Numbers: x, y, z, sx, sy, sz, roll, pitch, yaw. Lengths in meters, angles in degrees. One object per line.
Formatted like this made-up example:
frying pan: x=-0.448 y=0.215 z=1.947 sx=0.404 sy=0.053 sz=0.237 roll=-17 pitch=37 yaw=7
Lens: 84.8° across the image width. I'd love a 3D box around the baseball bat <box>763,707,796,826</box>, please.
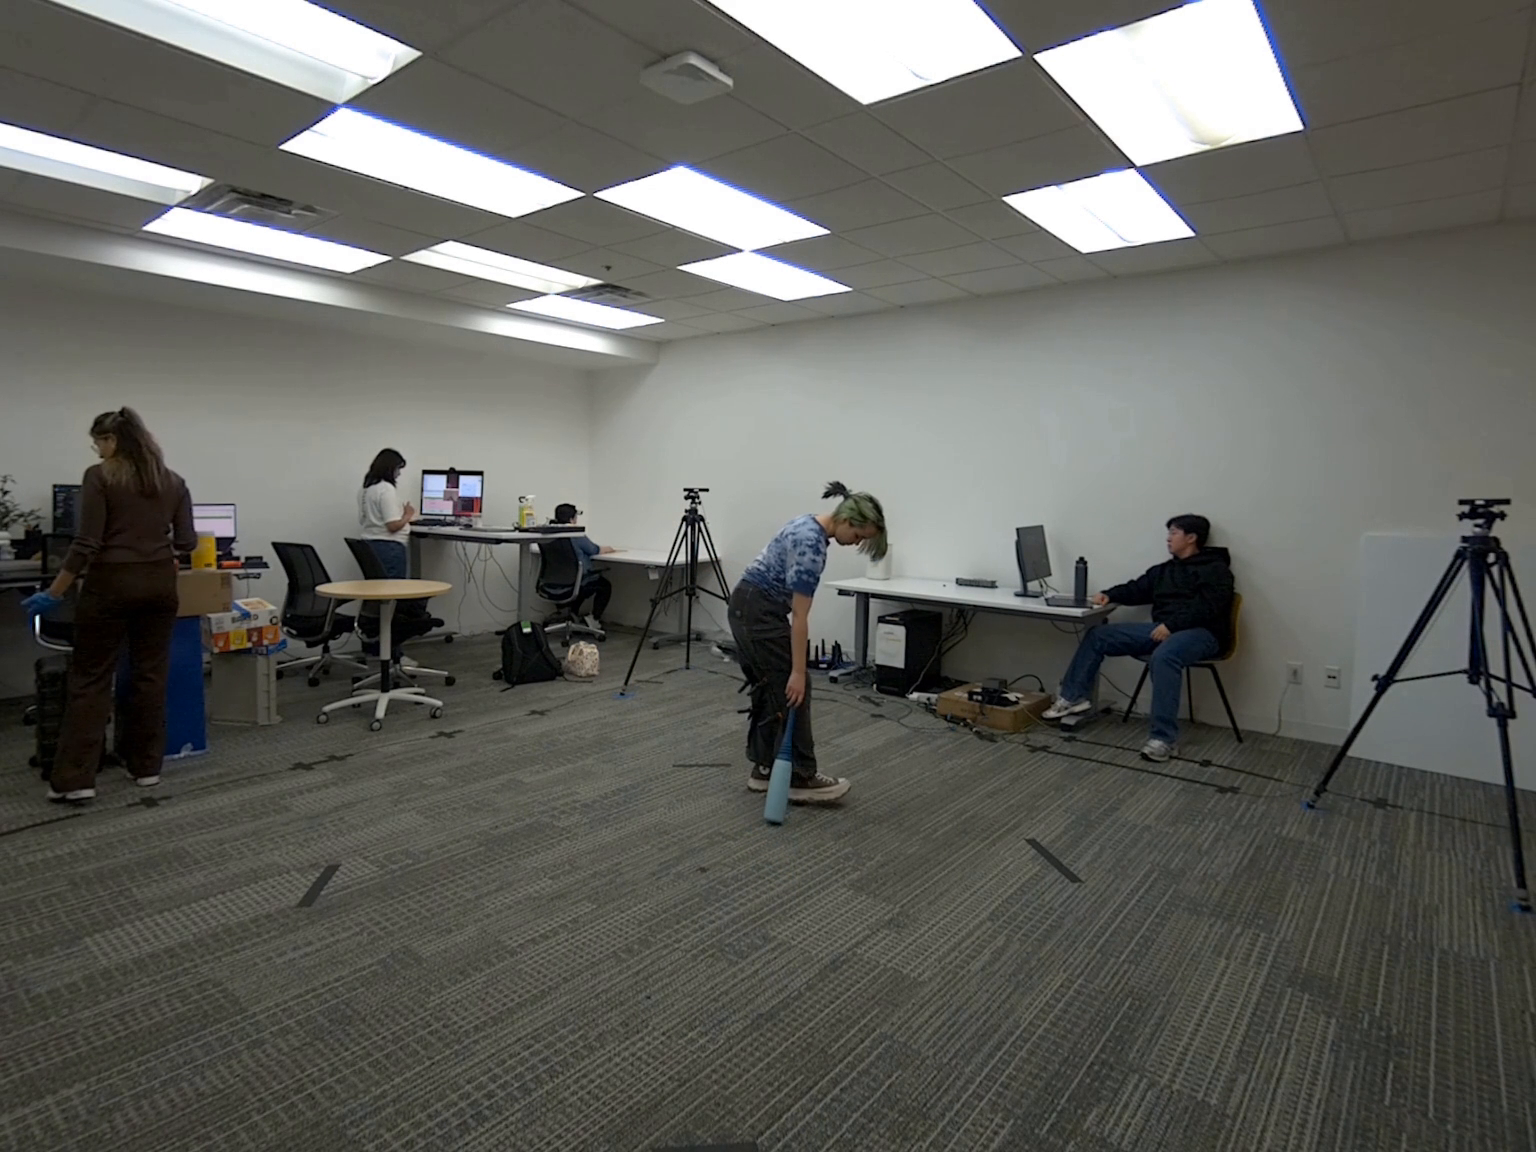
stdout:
baseball bat: x=0.062 y=0.772 z=3.634 sx=0.089 sy=0.550 sz=0.088 roll=10 pitch=-18 yaw=1
